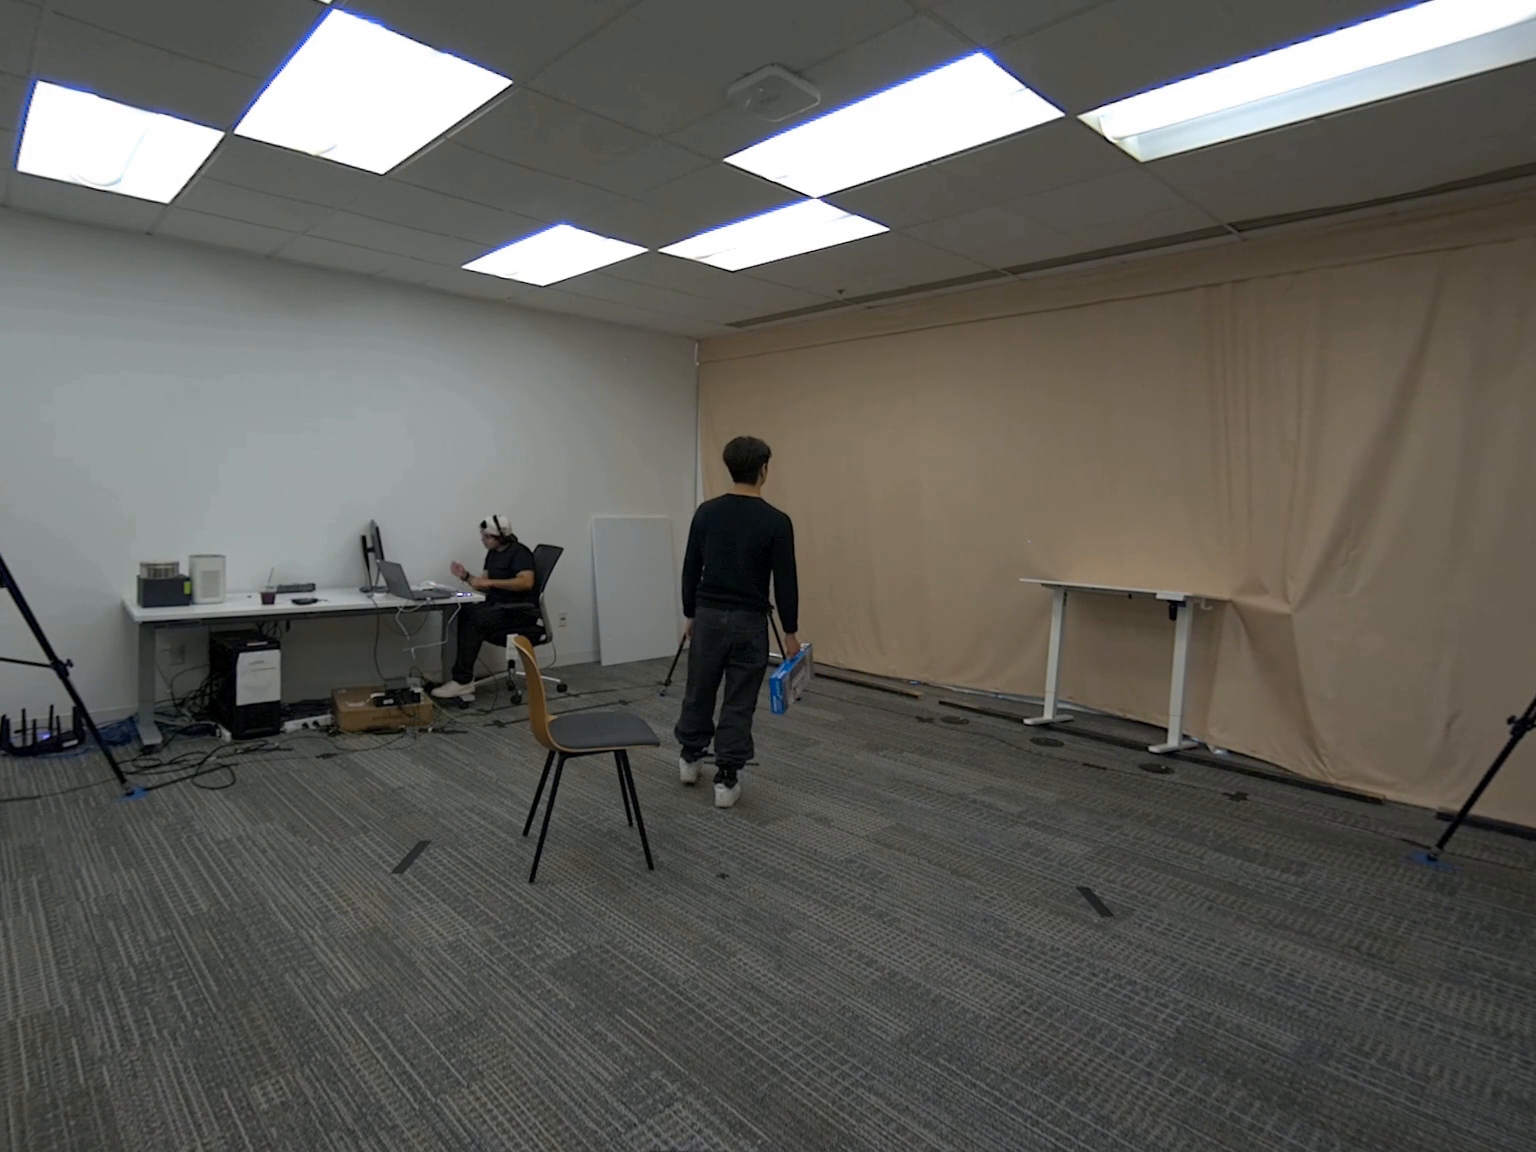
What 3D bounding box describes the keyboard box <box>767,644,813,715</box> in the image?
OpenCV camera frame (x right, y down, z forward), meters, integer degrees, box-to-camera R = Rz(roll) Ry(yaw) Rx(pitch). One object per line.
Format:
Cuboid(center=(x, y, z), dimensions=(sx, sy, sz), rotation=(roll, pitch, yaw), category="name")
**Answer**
Cuboid(center=(0.100, 0.471, 3.917), dimensions=(0.060, 0.174, 0.434), rotation=(1, 17, 22), category="keyboard box")
